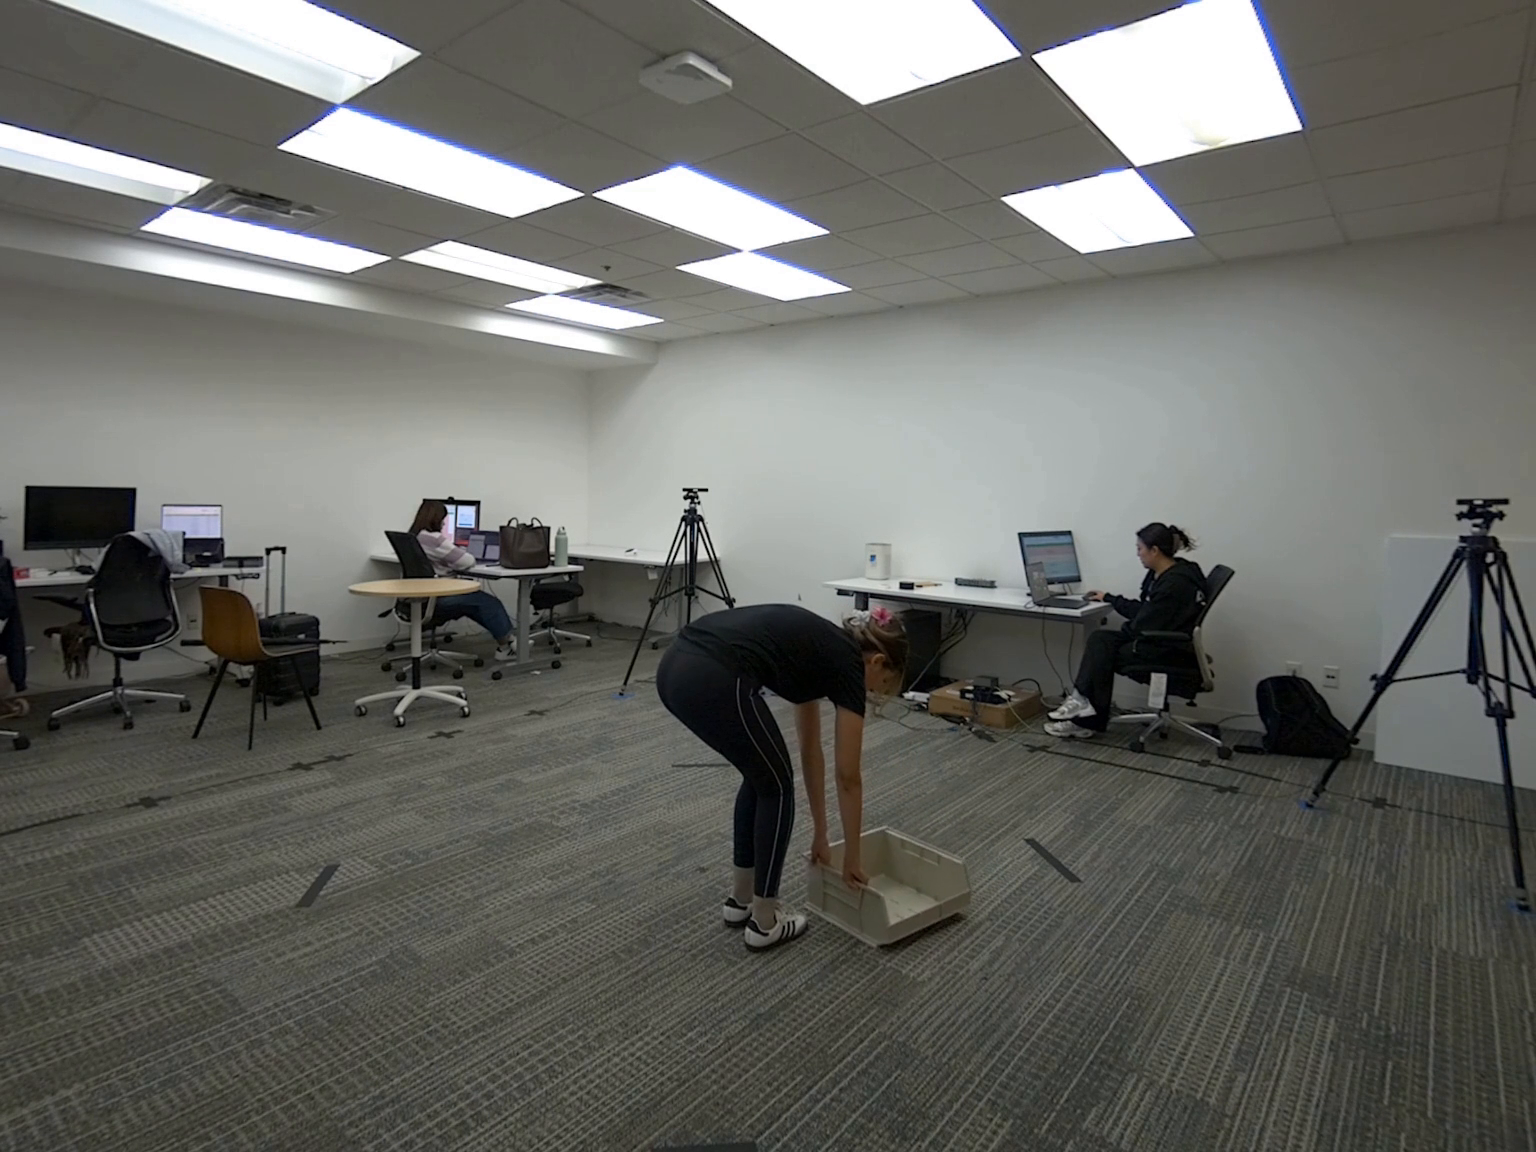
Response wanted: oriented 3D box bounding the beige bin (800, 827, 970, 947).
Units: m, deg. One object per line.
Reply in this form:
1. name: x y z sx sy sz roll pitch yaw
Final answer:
1. beige bin: 0.389 1.019 2.822 0.410 0.188 0.390 -4 6 -40
